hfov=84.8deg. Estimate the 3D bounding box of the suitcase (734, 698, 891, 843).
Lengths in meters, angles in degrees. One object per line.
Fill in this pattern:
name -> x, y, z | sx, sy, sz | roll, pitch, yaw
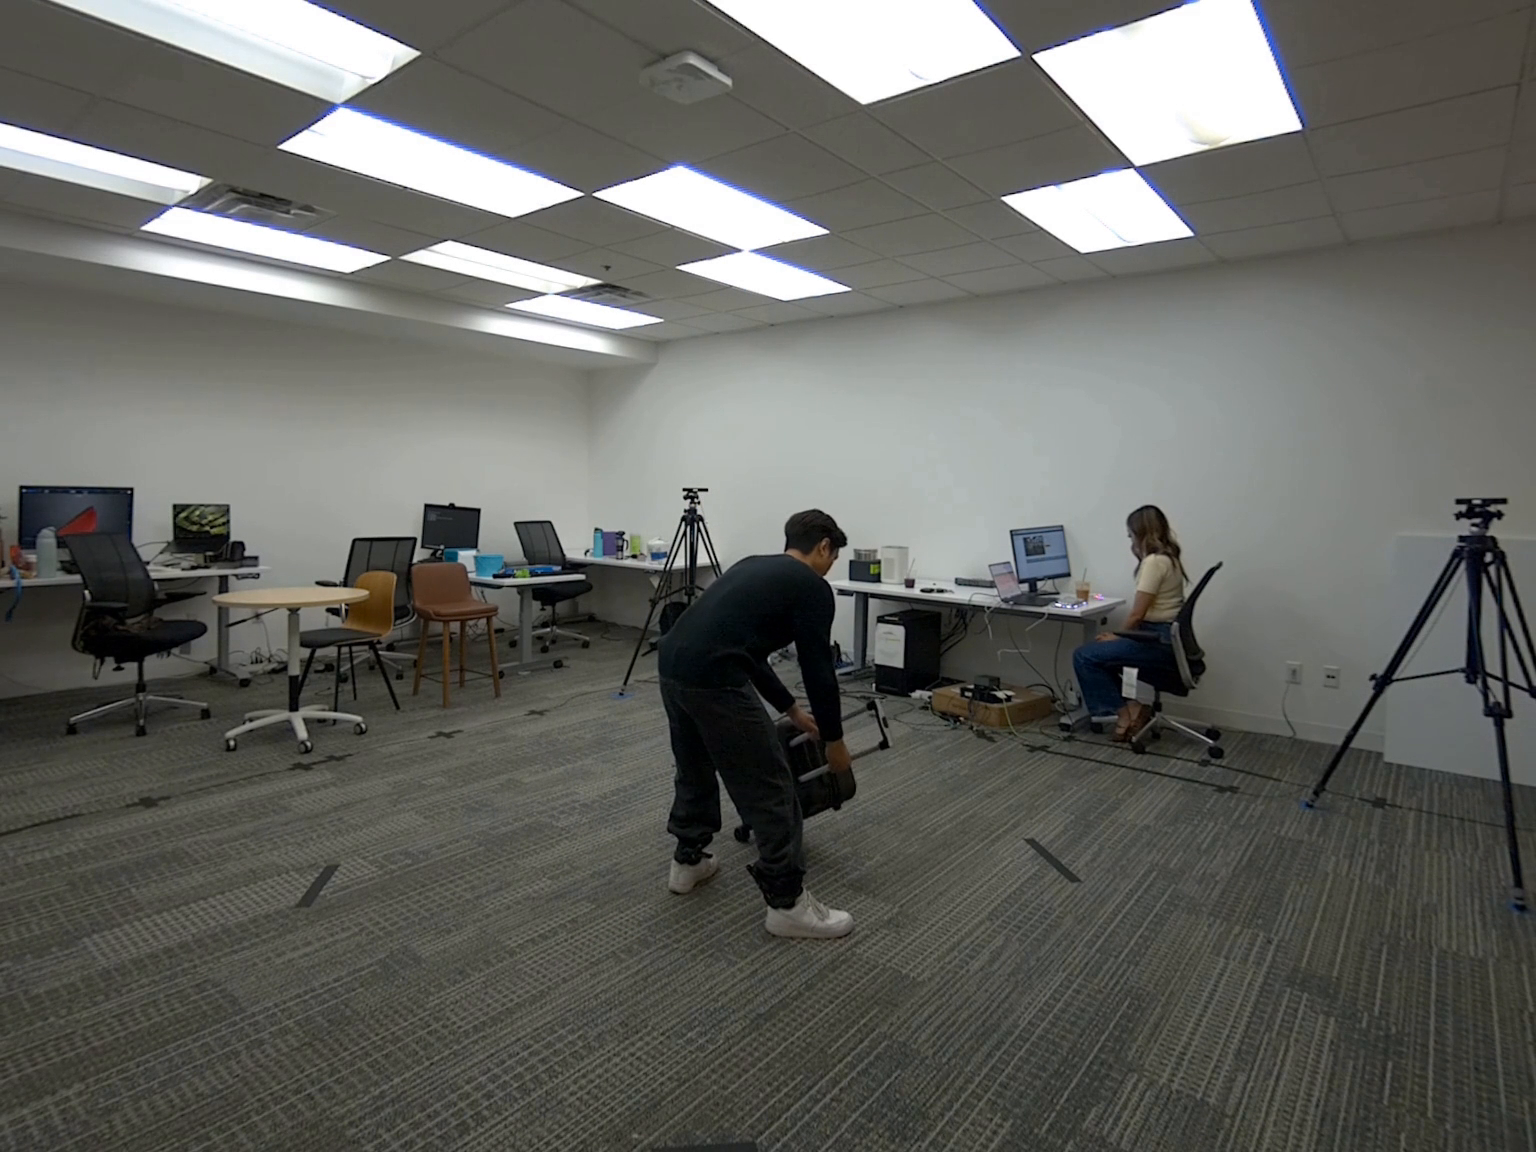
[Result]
suitcase -> 0.173, 0.671, 3.169 | 0.249, 0.394, 0.984 | 2, -27, -37
